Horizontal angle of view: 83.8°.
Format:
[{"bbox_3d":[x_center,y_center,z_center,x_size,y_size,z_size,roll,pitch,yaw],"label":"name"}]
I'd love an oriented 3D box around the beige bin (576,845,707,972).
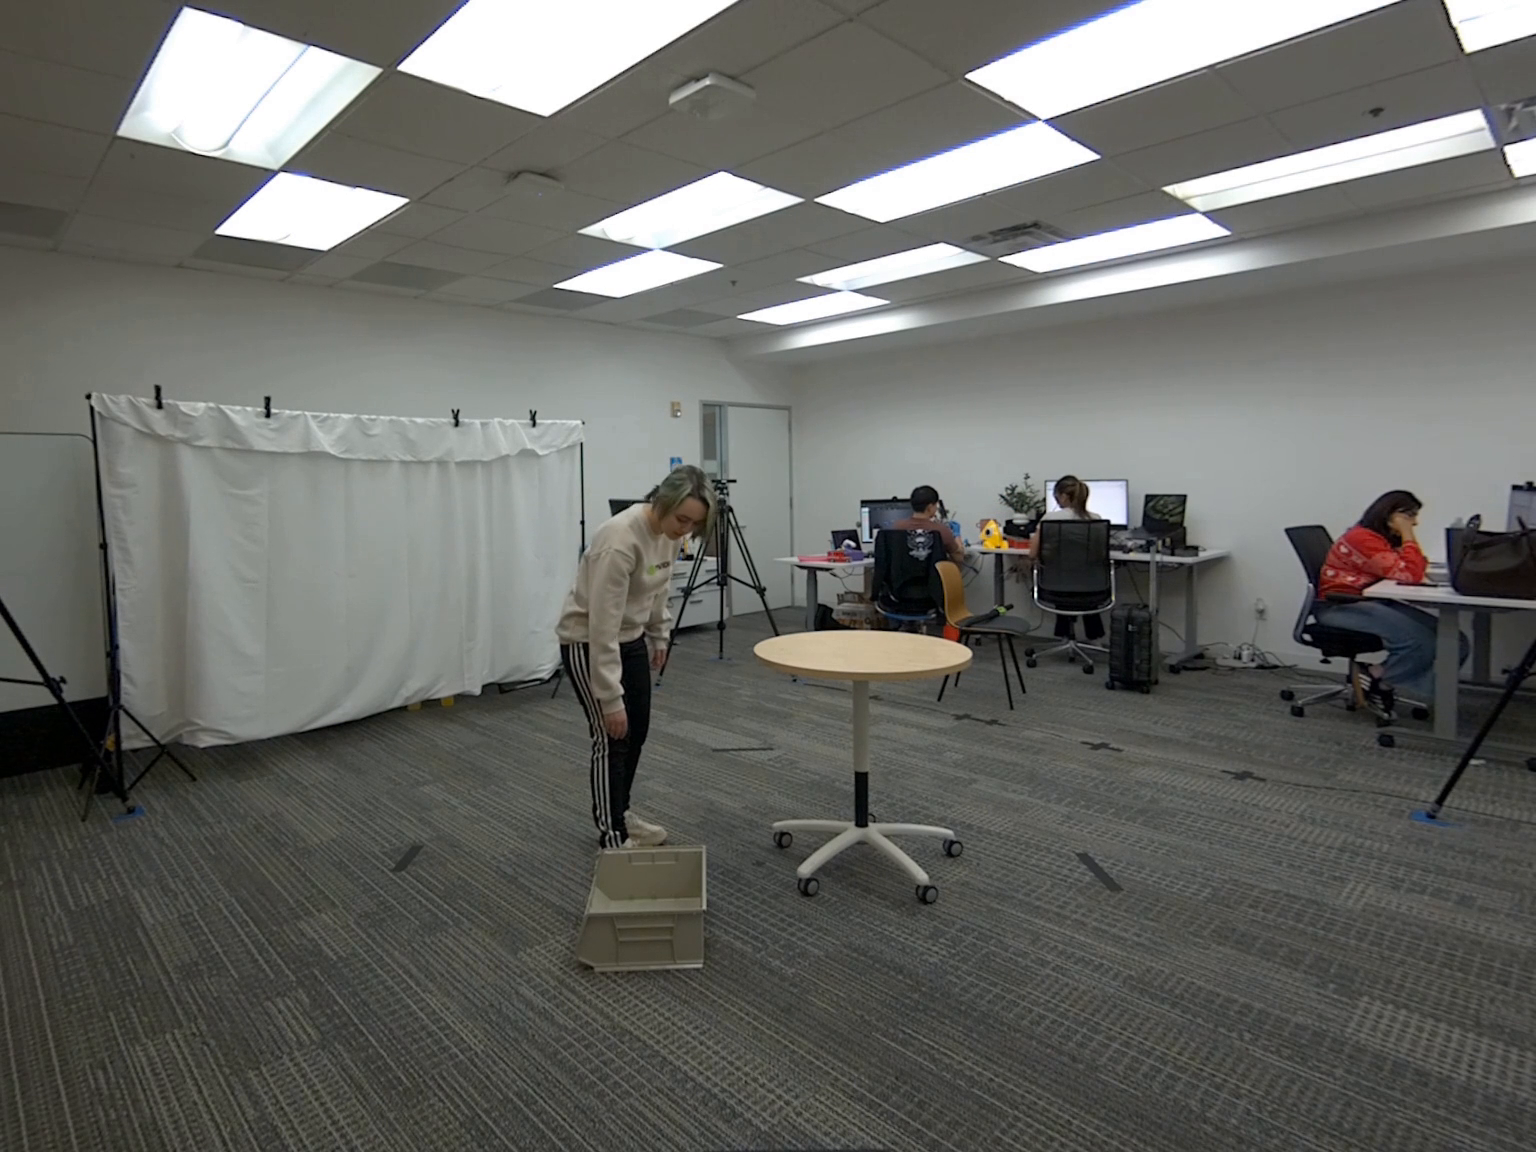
[{"bbox_3d":[-0.378,1.024,2.641,0.376,0.188,0.425,0,5,-4],"label":"beige bin"}]
